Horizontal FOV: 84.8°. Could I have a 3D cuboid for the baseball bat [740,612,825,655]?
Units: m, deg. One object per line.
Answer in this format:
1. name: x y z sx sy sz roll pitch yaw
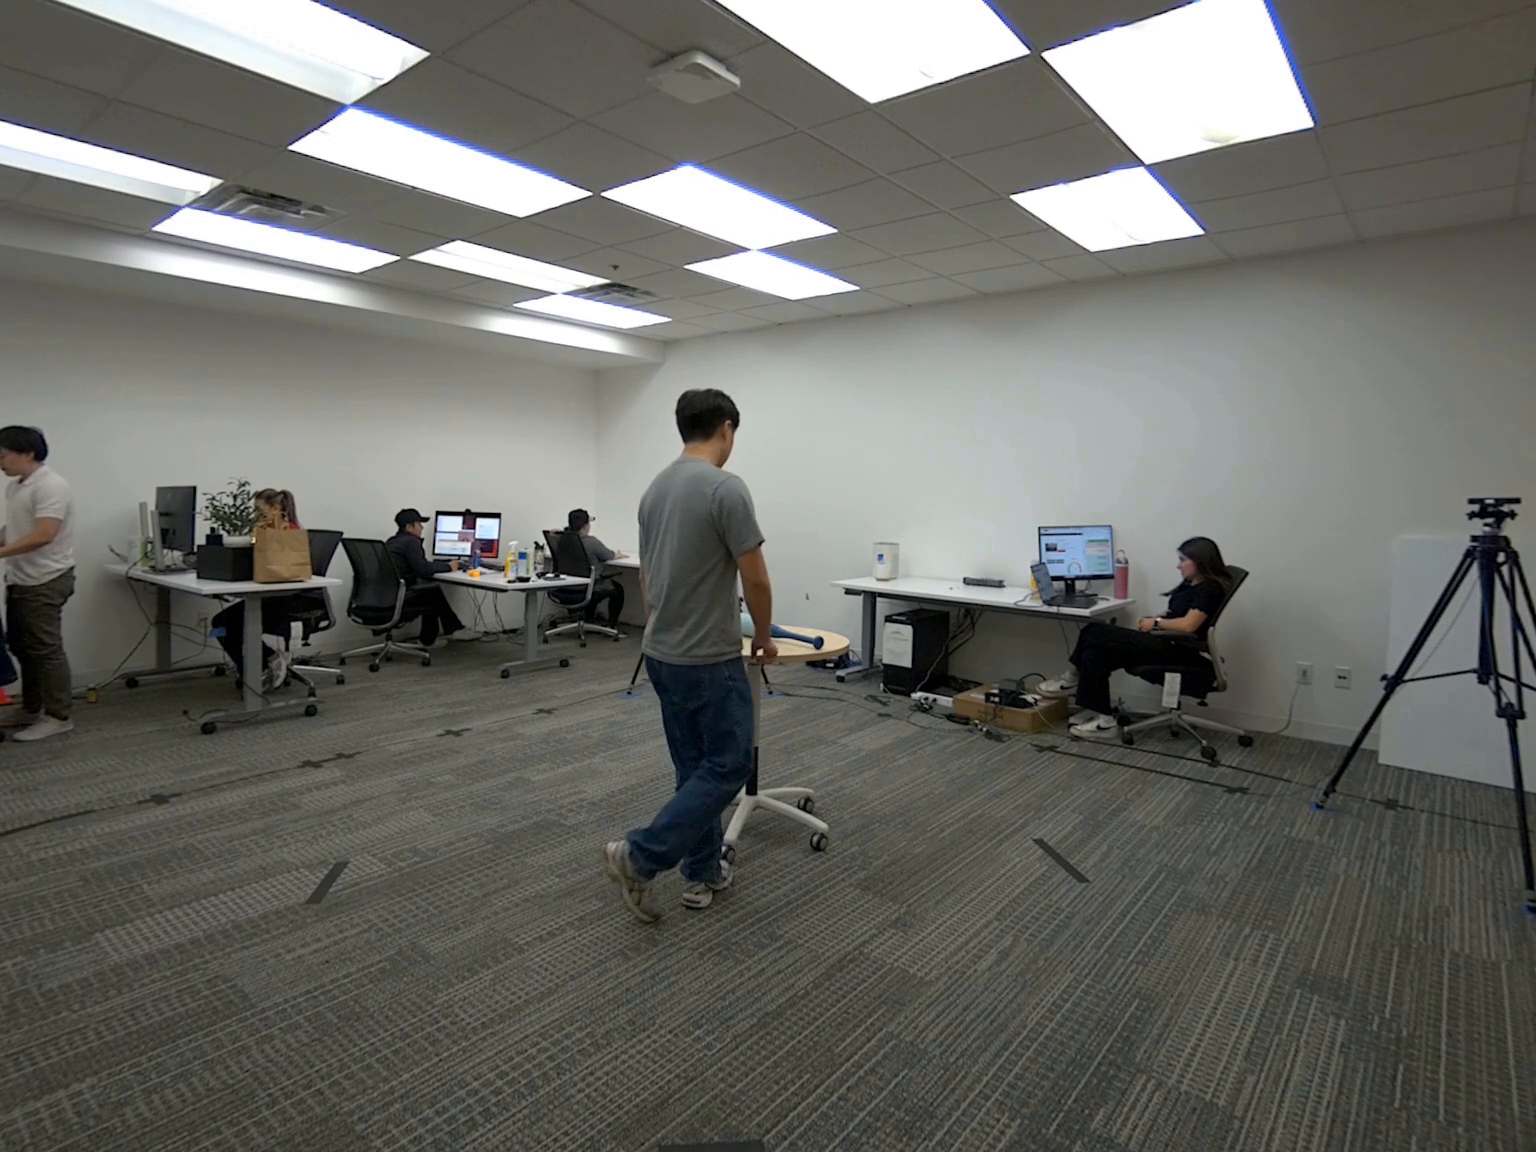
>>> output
1. baseball bat: 0.000 0.218 3.414 0.086 0.088 0.563 -3 9 -43
